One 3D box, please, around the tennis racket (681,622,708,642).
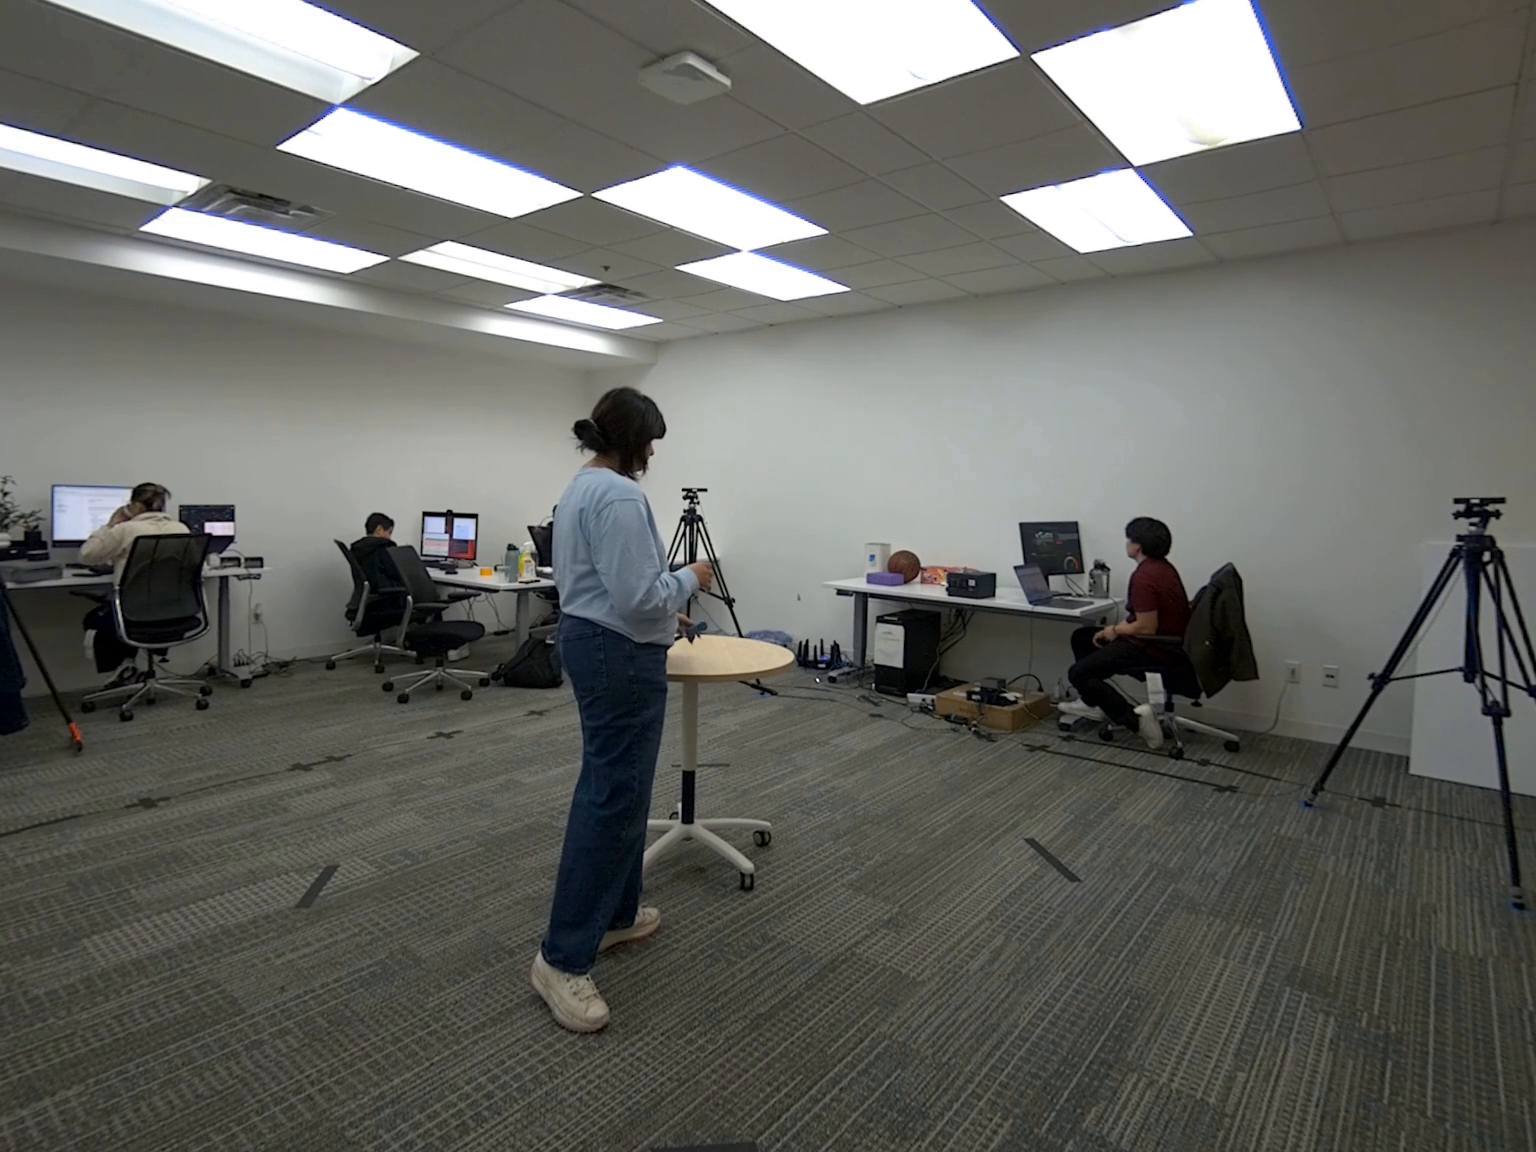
[{"bbox_3d":[-0.329,0.222,2.907,0.211,0.032,0.435,-27,-2,-24],"label":"tennis racket"}]
